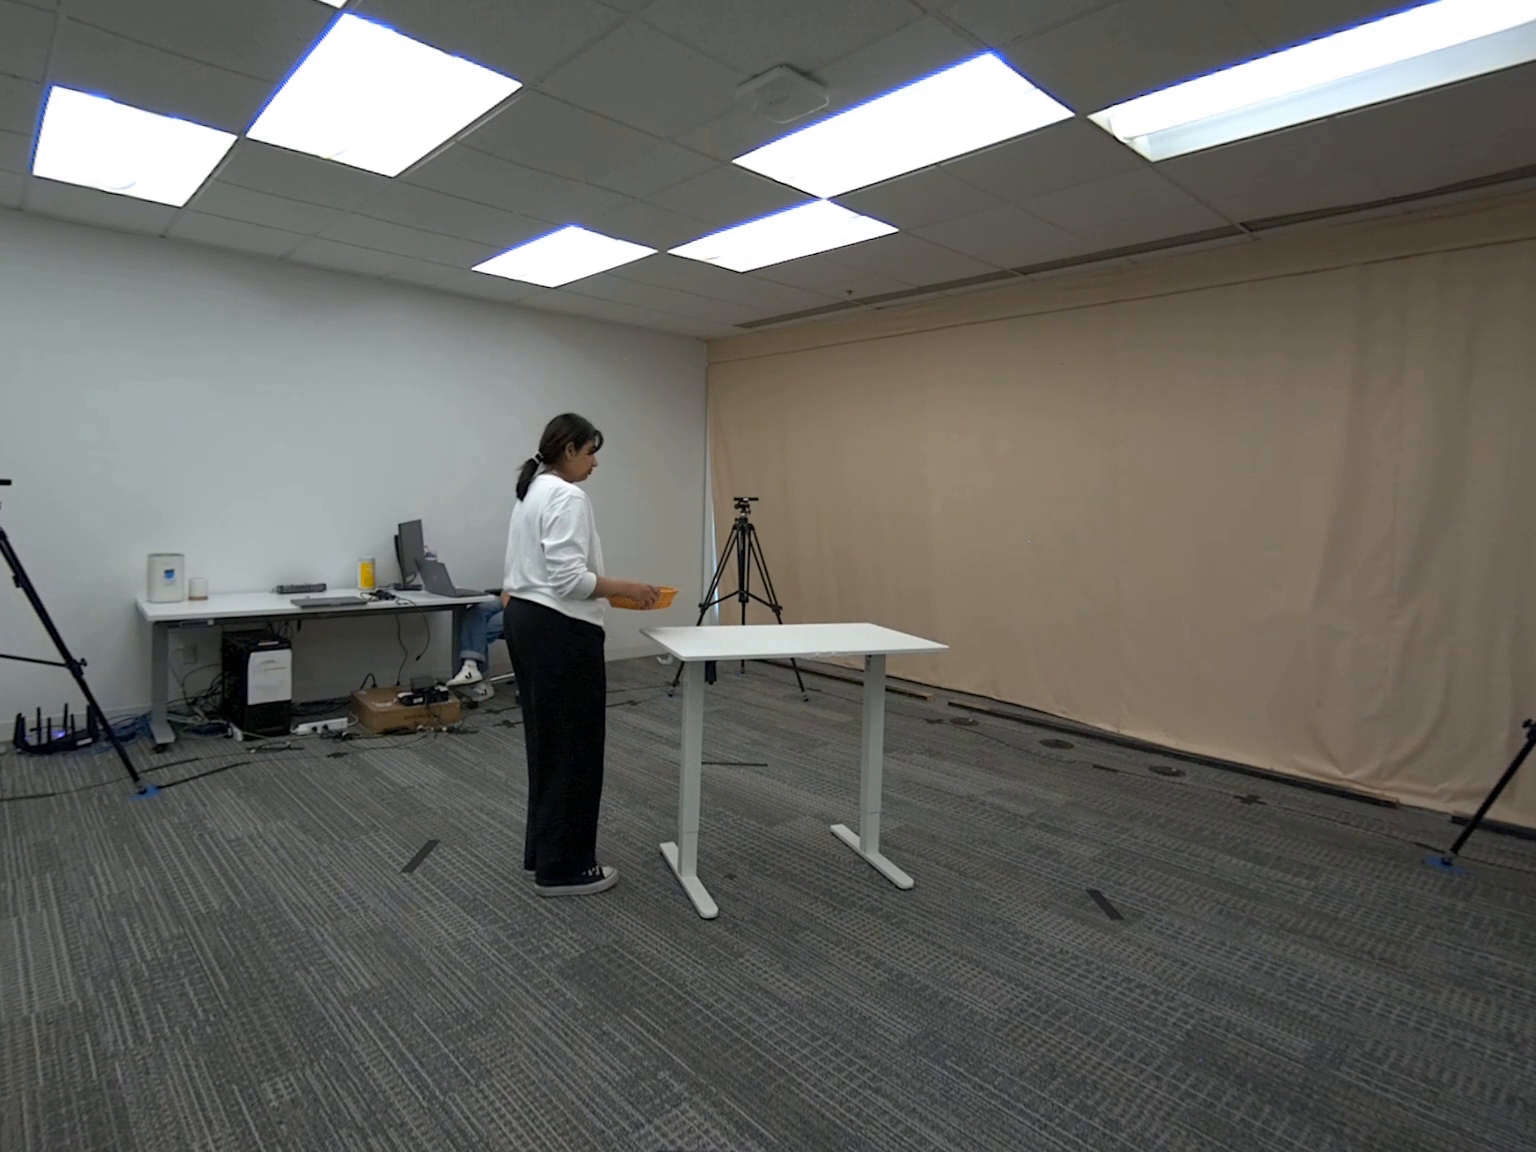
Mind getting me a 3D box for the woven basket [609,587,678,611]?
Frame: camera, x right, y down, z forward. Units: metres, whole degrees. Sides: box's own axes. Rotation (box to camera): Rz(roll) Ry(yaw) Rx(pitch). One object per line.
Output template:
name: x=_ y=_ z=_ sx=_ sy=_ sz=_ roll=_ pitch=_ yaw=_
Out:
woven basket: x=-0.528 y=0.082 z=3.225 sx=0.247 sy=0.073 sz=0.359 roll=-4 pitch=5 yaw=-38
